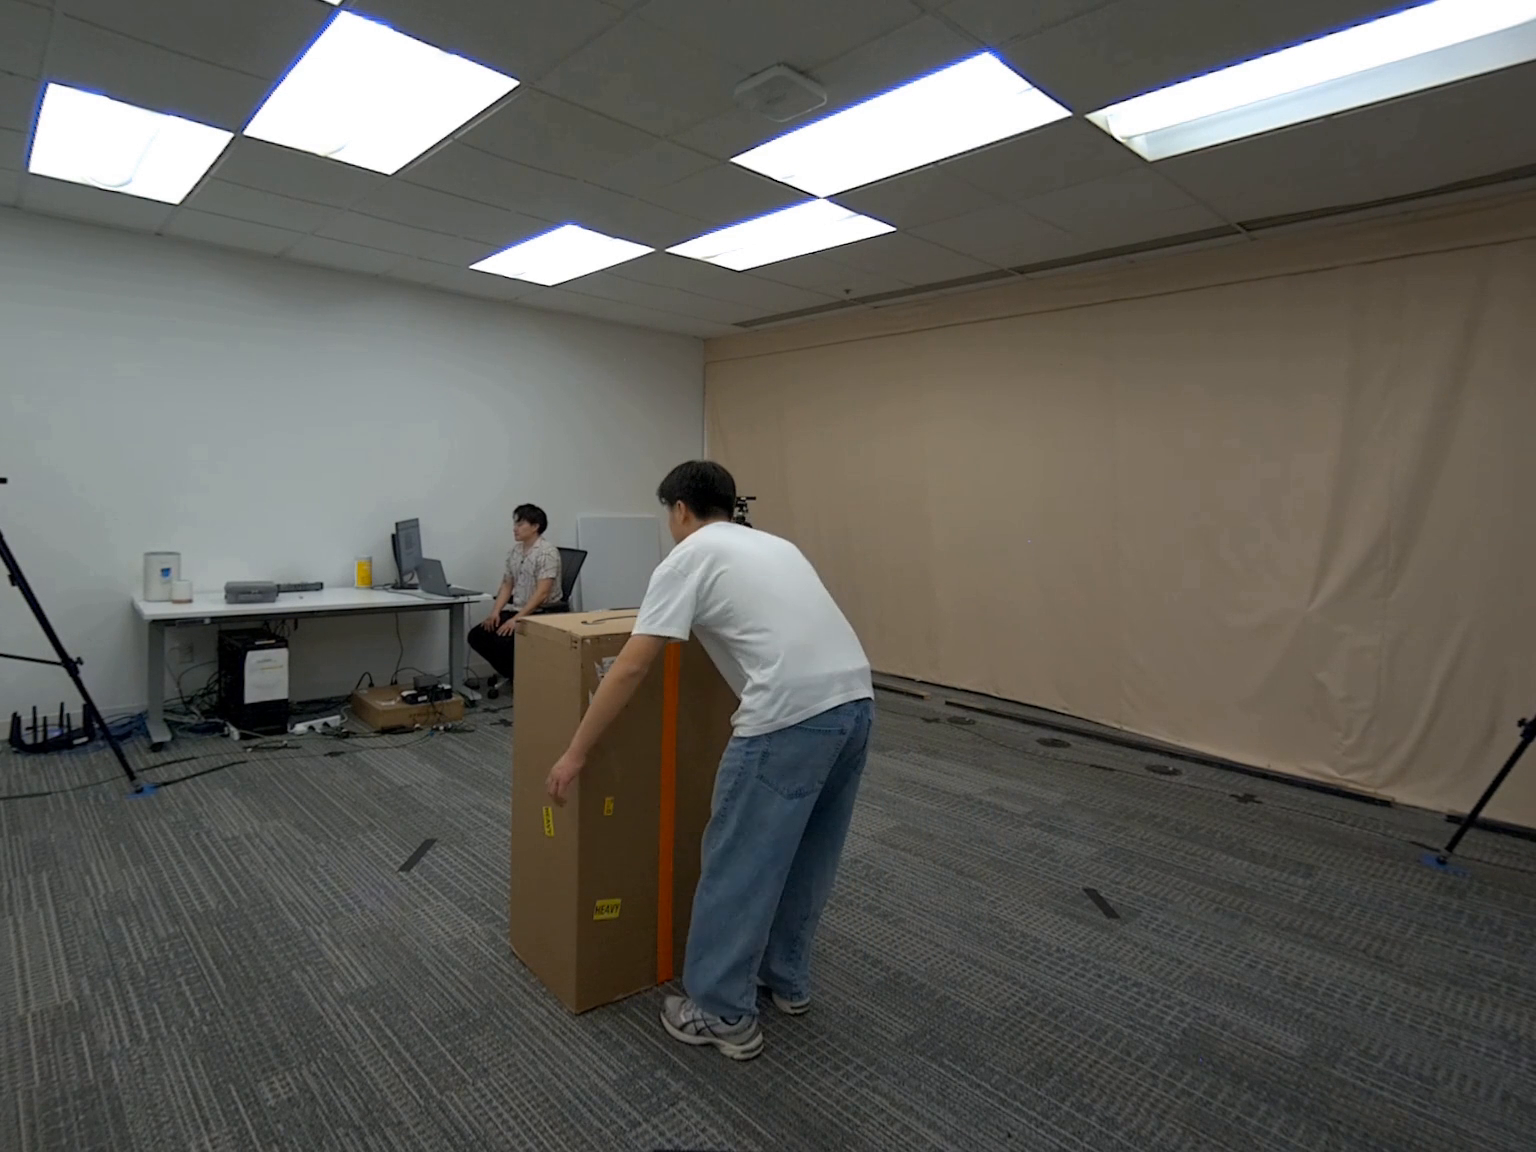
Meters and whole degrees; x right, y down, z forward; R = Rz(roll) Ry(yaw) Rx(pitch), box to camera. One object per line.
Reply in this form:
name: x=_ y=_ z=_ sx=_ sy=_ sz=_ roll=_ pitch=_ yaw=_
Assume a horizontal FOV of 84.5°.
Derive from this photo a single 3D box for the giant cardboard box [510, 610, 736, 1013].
giant cardboard box: x=-0.428 y=0.641 z=2.558 sx=0.564 sy=1.023 sz=0.437 roll=-1 pitch=4 yaw=-39
